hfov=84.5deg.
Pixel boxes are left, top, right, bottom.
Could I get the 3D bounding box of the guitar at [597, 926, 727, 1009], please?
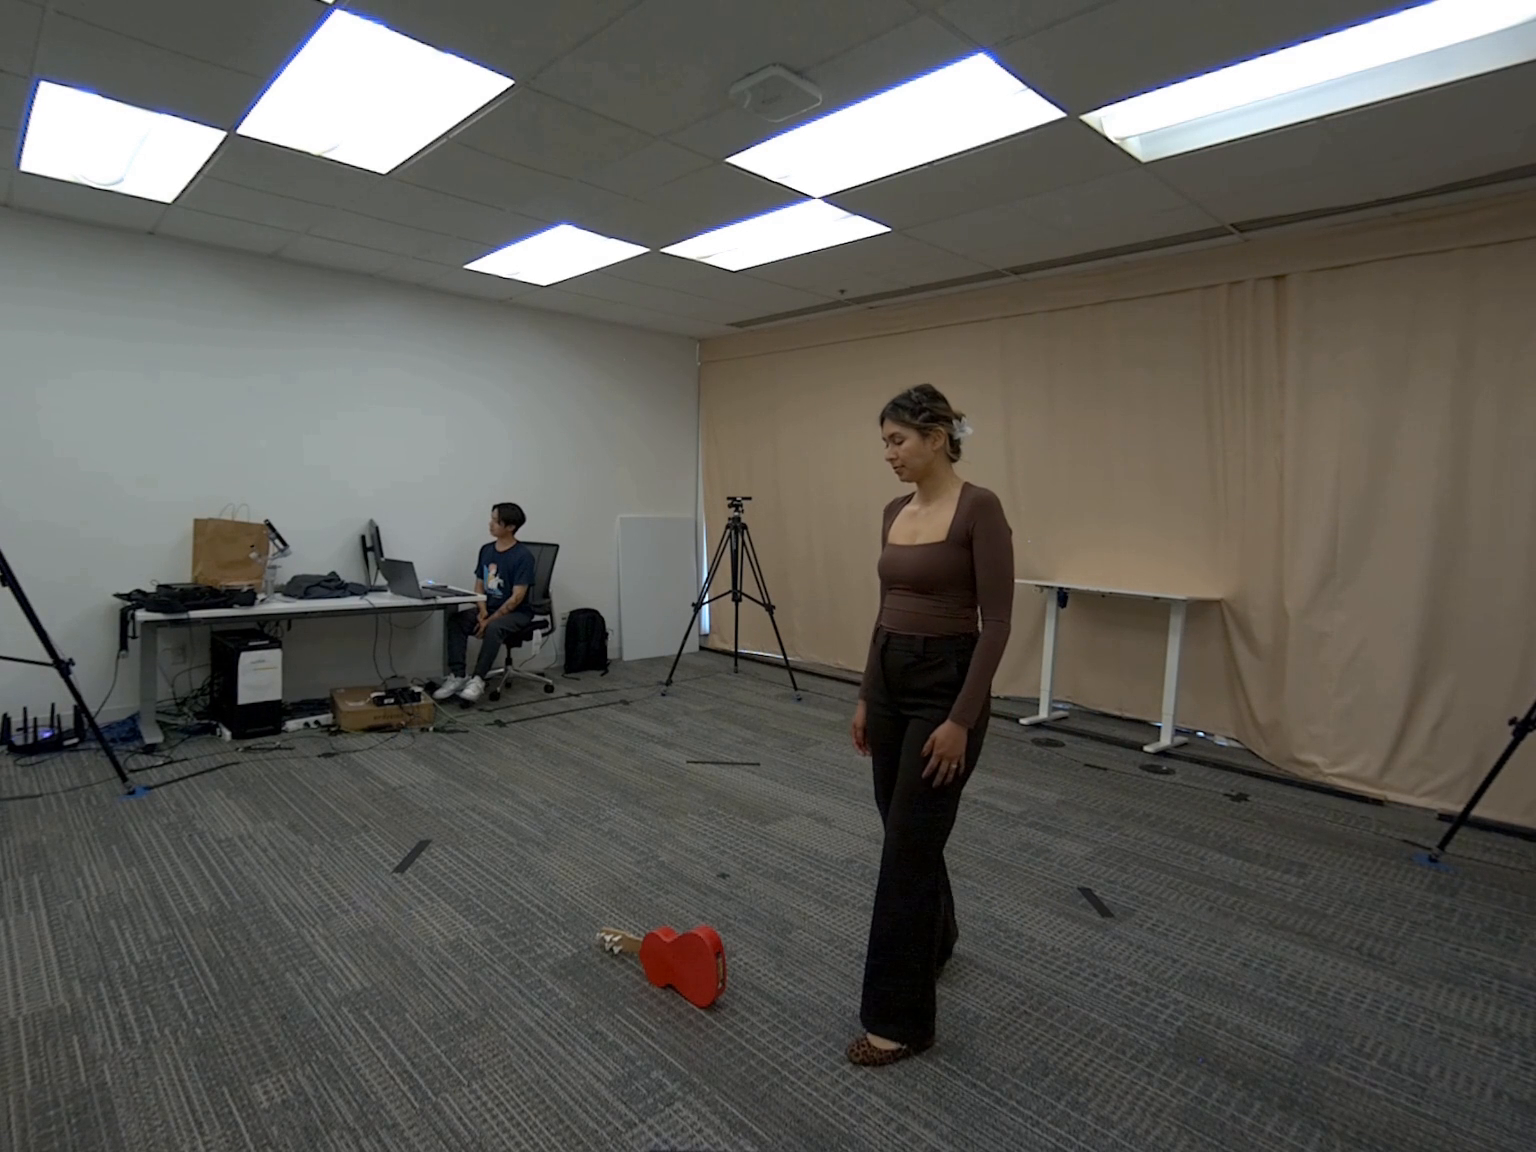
[{"bbox_3d":[-0.330,1.124,2.434,0.505,0.195,0.069,-17,-11,36],"label":"guitar"}]
